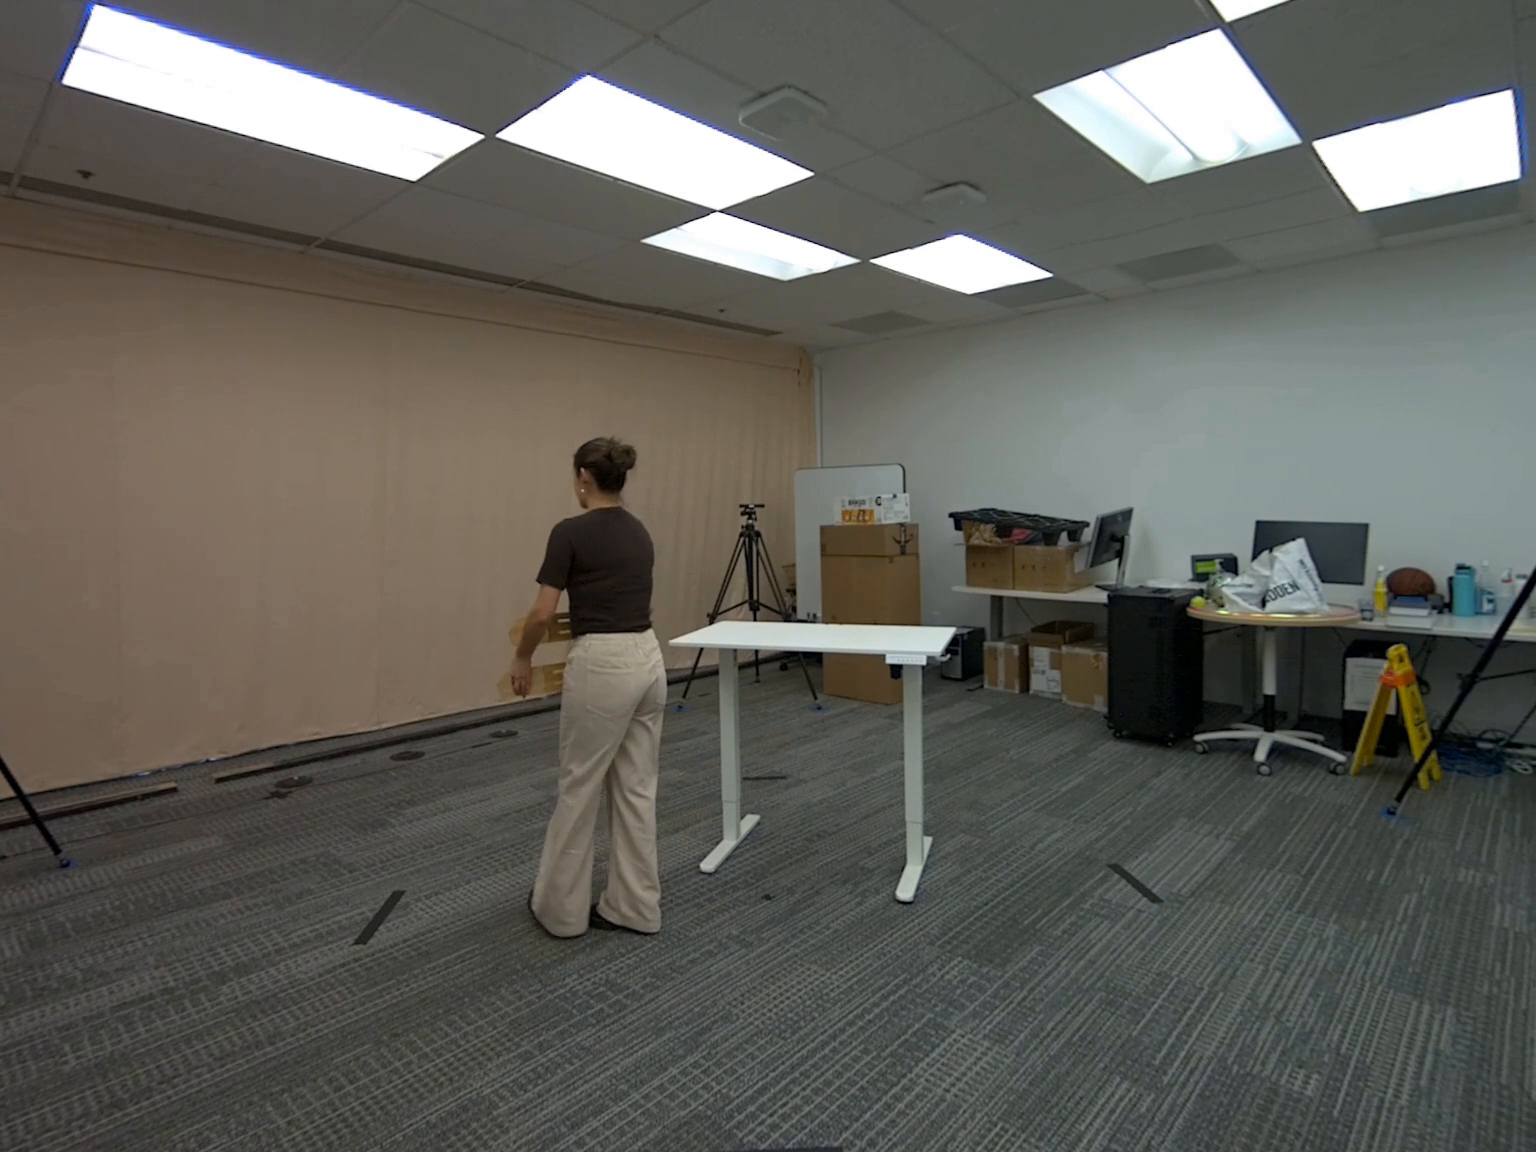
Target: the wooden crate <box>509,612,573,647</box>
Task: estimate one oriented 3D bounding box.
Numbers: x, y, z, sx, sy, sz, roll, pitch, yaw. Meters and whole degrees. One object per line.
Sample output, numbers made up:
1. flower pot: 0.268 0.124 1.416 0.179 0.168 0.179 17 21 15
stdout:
1. wooden crate: -0.755 0.261 2.955 0.311 0.274 0.314 -6 -3 37
